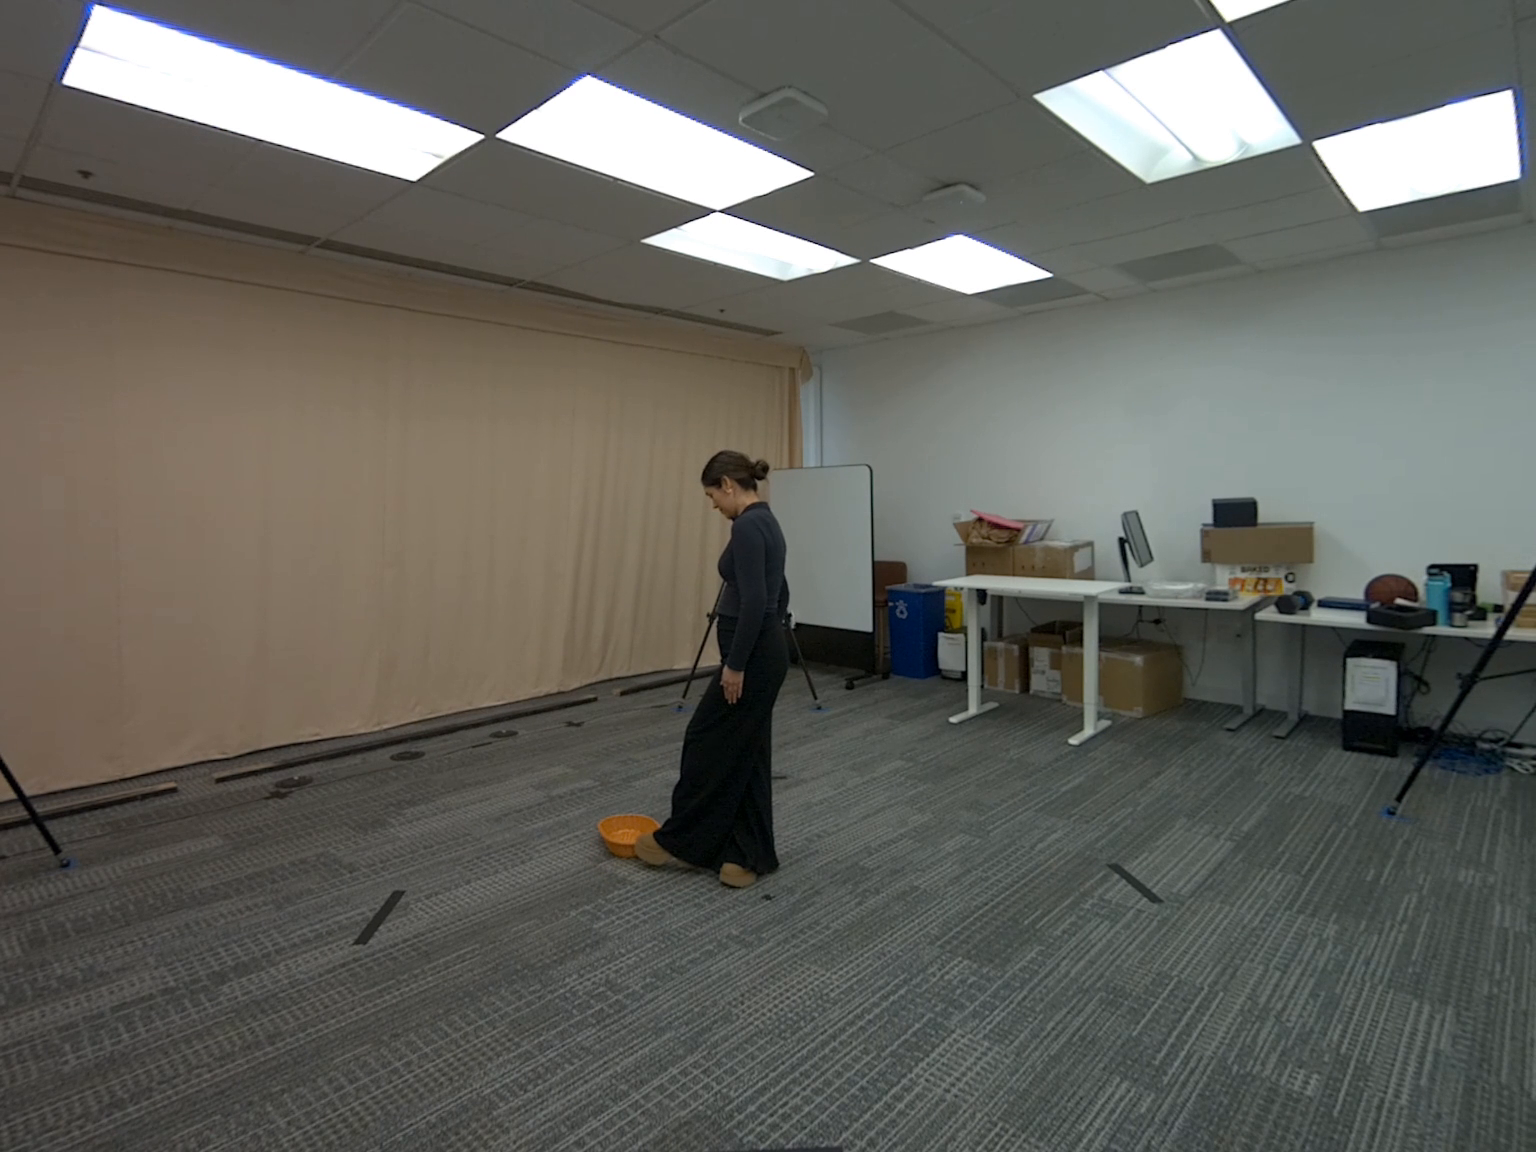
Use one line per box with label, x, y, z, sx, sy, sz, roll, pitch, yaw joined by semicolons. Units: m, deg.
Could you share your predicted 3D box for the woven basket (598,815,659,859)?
woven basket;-0.573;1.072;3.472;0.247;0.073;0.358;-1;4;-21
